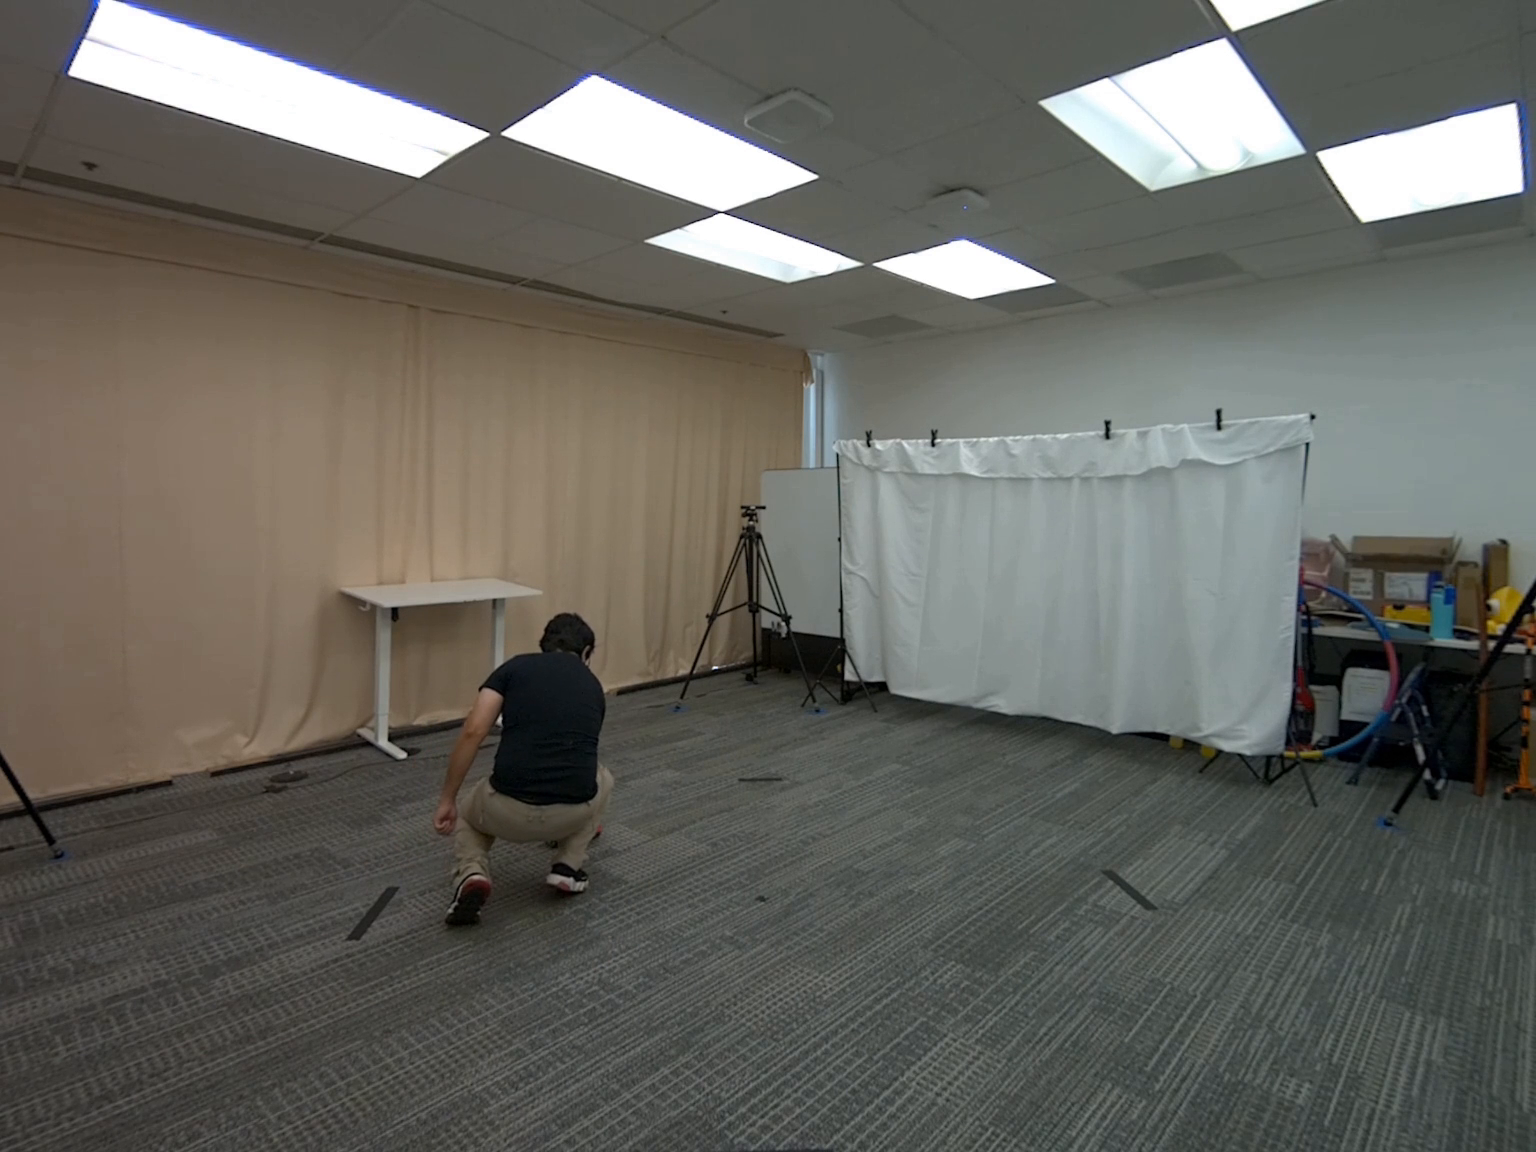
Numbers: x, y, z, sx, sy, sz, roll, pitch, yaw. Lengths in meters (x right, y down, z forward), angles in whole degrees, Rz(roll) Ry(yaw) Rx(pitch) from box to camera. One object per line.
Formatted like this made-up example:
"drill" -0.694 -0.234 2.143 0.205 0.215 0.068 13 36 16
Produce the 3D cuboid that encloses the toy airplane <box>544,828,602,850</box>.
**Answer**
"toy airplane" -0.812 1.035 3.507 0.256 0.156 0.254 1 3 20
